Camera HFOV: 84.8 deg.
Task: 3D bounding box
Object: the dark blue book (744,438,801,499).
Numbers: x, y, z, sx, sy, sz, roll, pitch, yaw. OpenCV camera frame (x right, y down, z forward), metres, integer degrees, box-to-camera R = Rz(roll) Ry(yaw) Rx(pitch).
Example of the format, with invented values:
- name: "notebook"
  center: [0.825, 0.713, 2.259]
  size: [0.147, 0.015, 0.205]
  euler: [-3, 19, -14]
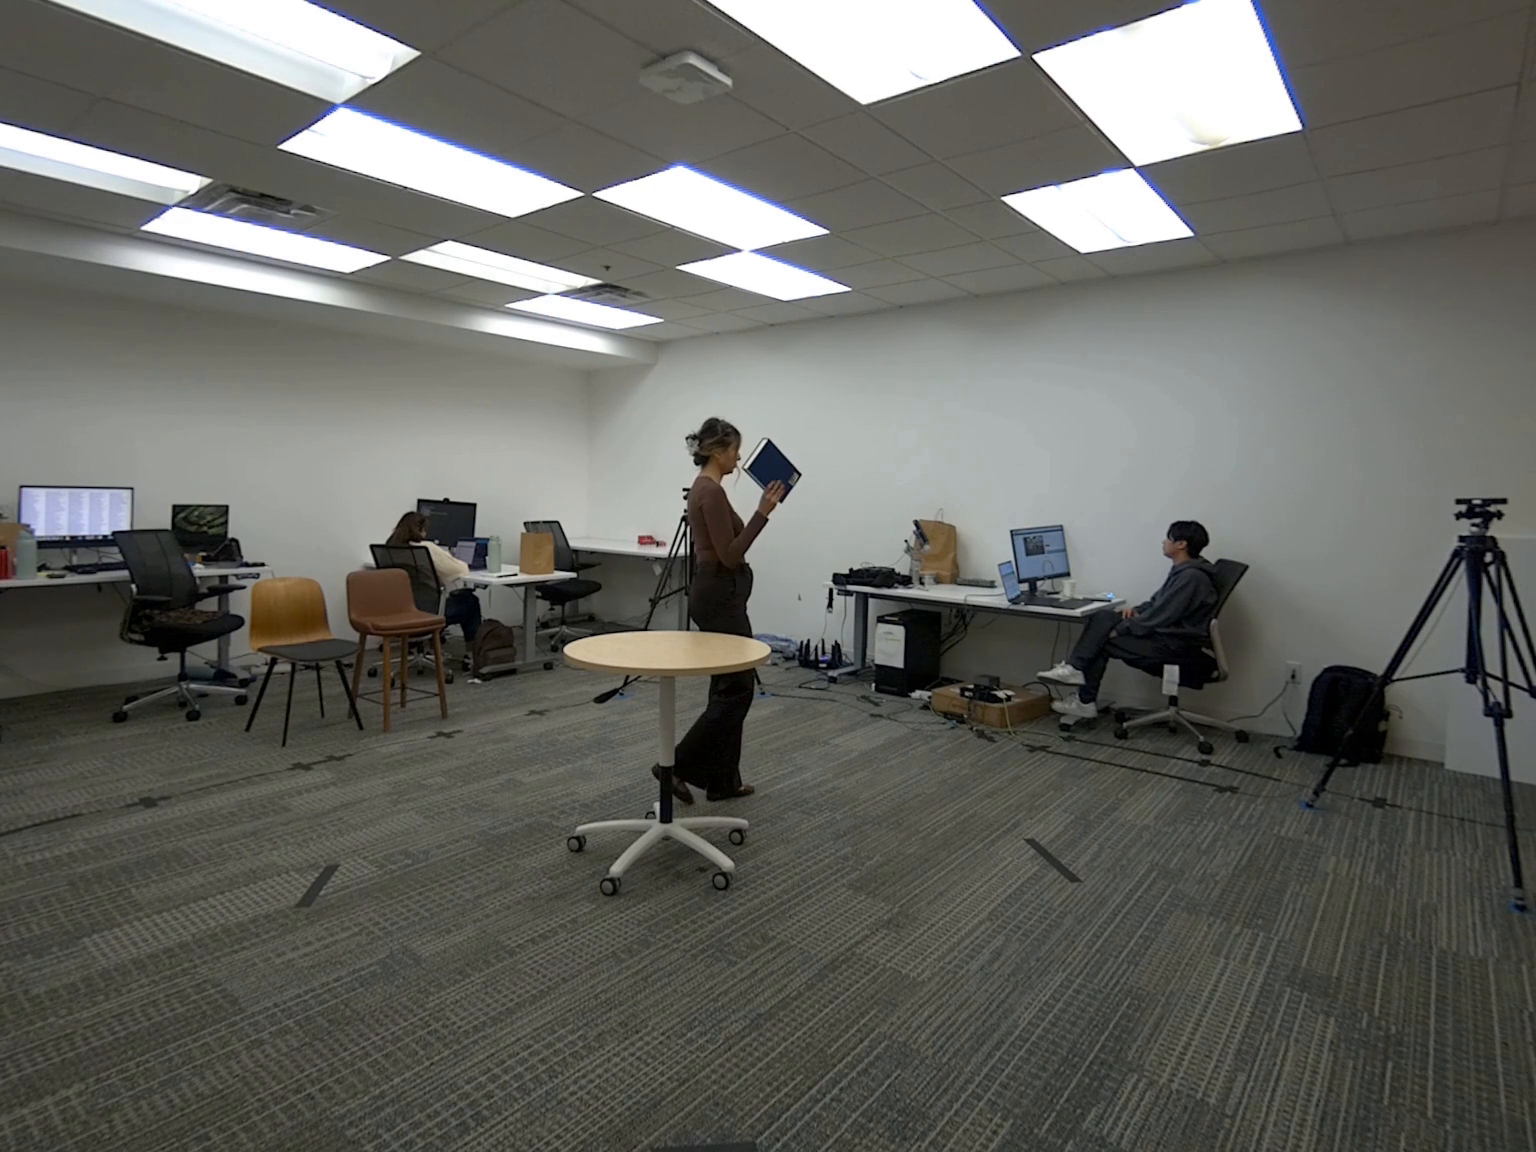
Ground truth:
- name: "dark blue book"
  center: [0.007, -0.445, 3.570]
  size: [0.236, 0.163, 0.047]
  euler: [43, -13, -33]
